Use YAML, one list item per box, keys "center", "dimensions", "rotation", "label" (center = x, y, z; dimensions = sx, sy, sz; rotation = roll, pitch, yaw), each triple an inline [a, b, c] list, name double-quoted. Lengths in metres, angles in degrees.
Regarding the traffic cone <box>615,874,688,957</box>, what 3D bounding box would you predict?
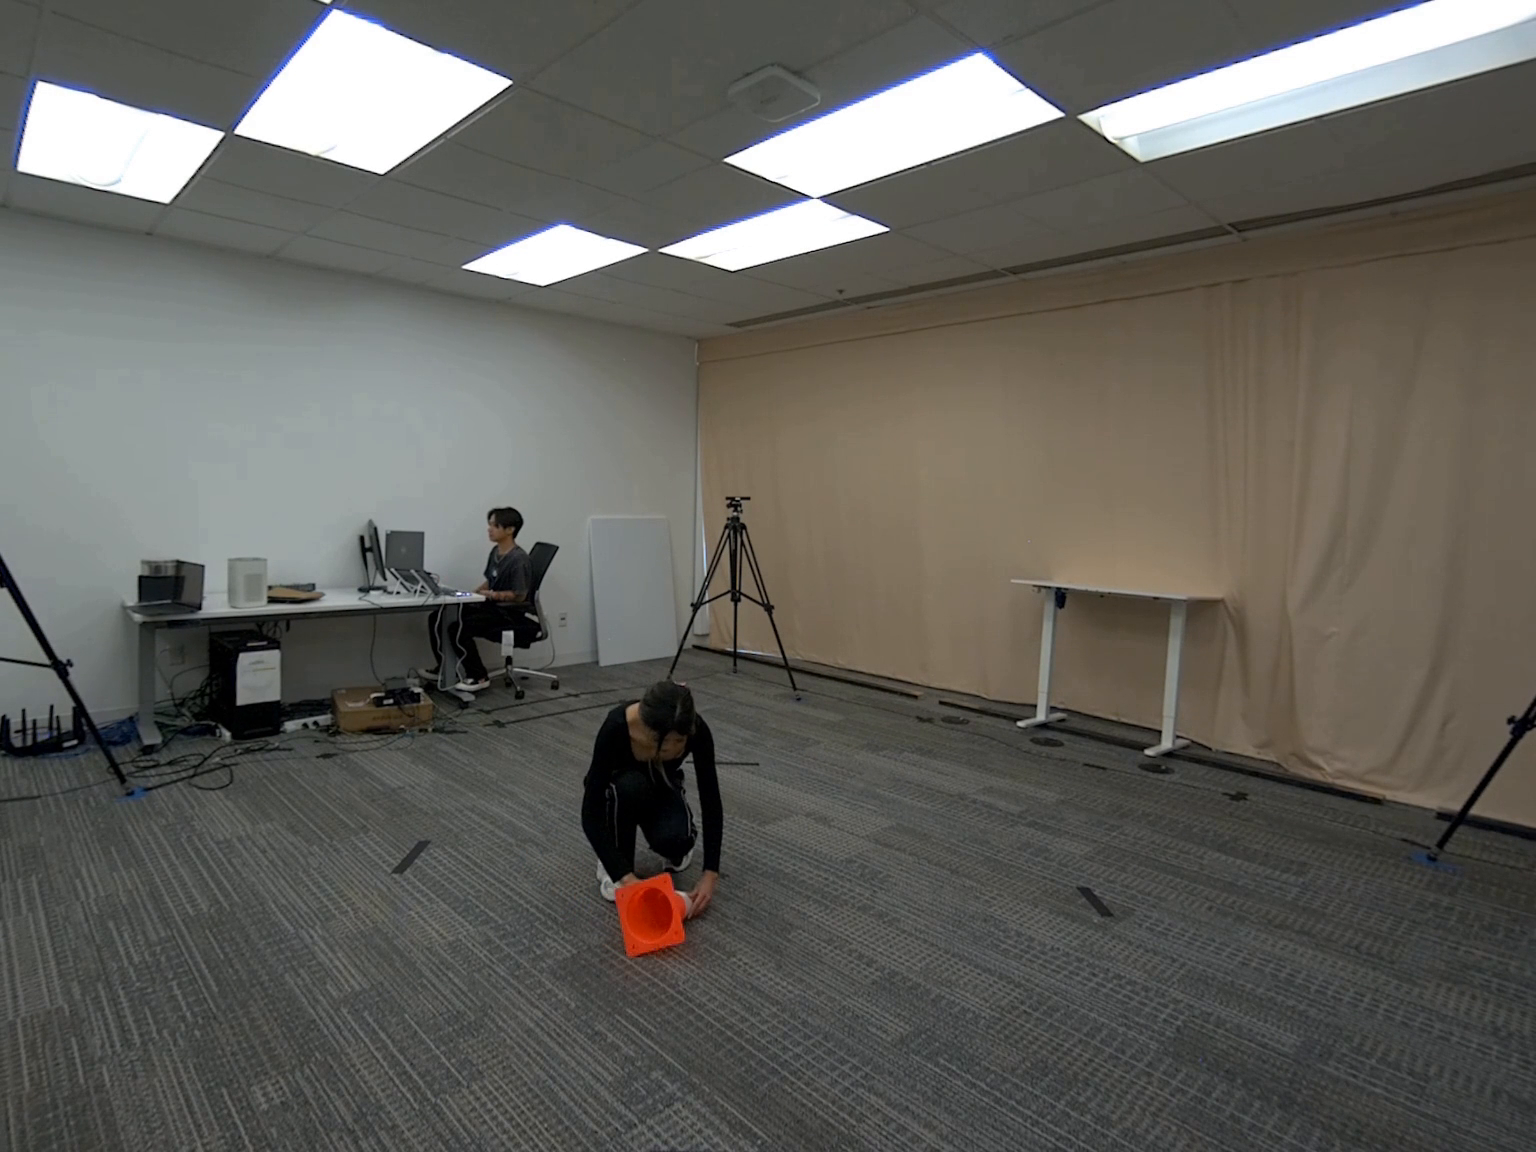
- center: [-0.324, 1.074, 2.731]
  dimensions: [0.206, 0.207, 0.375]
  rotation: [-2, -13, 17]
  label: "traffic cone"
